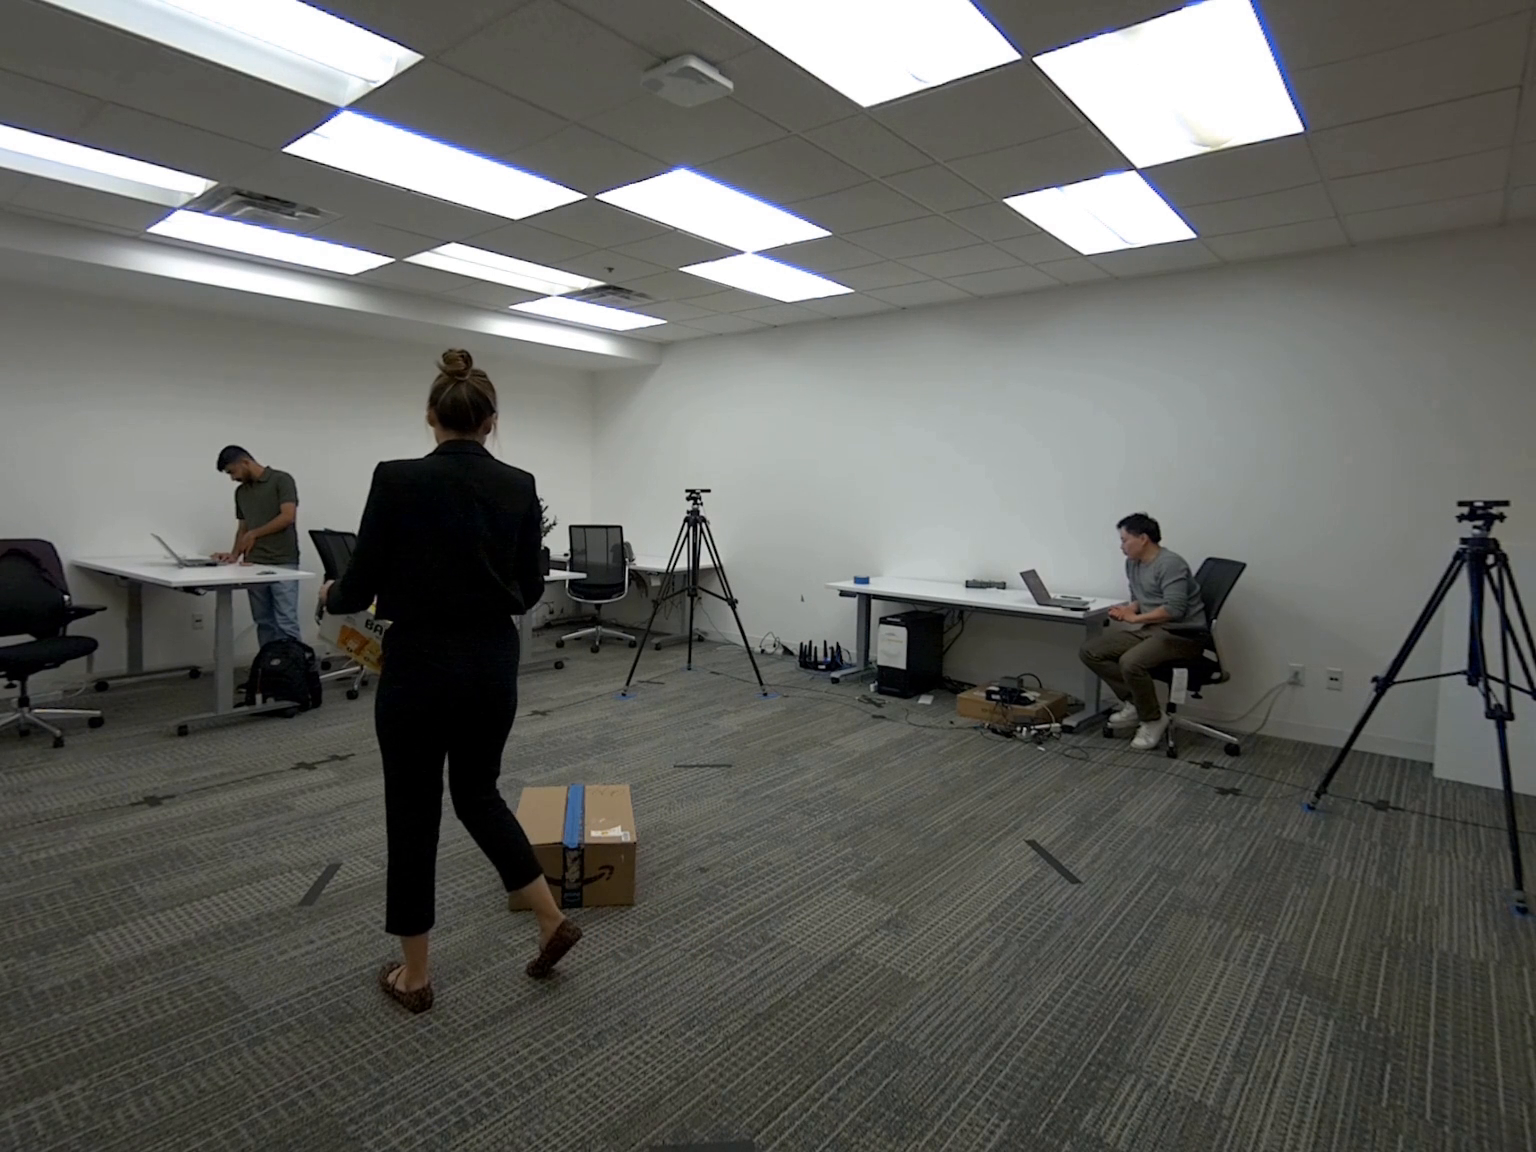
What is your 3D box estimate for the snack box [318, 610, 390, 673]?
[{"bbox_3d":[-1.102,0.129,2.652,0.403,0.204,0.344,29,29,-4],"label":"snack box"}]
